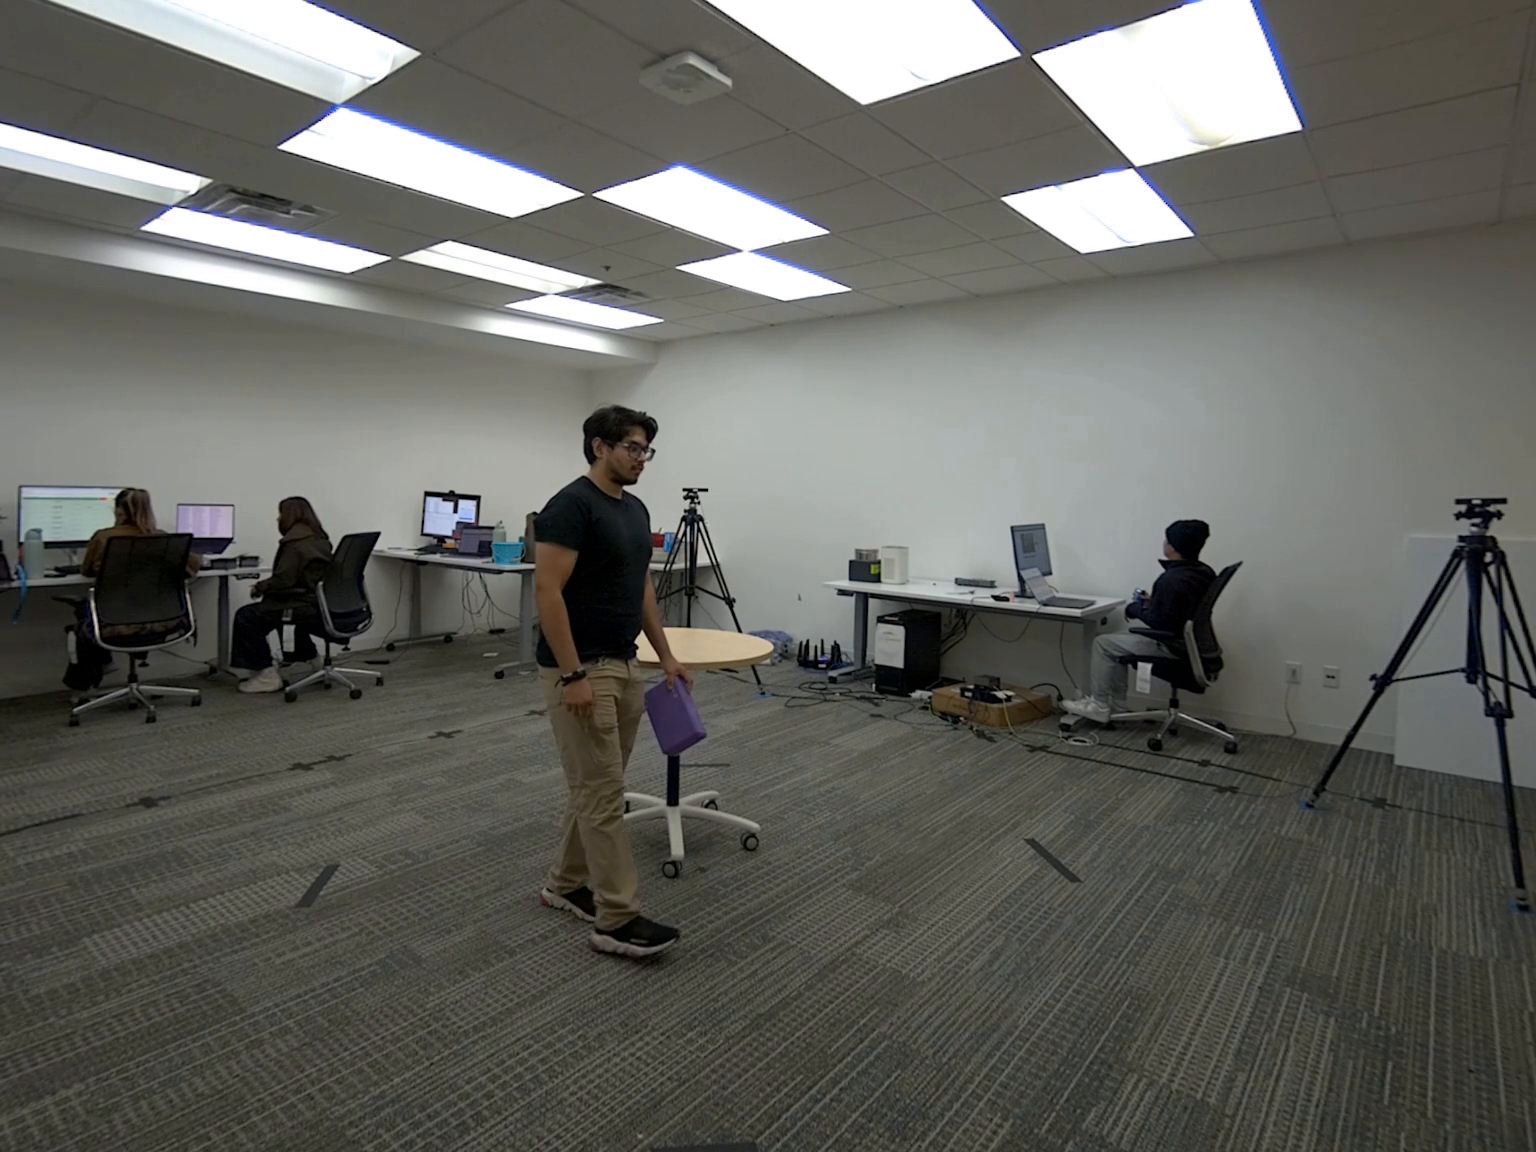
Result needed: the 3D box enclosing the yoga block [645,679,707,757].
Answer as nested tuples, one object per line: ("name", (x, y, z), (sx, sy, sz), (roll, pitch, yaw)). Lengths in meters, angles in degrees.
("yoga block", (-0.328, 0.462, 2.836), (0.150, 0.237, 0.073), (-34, -28, 13))
